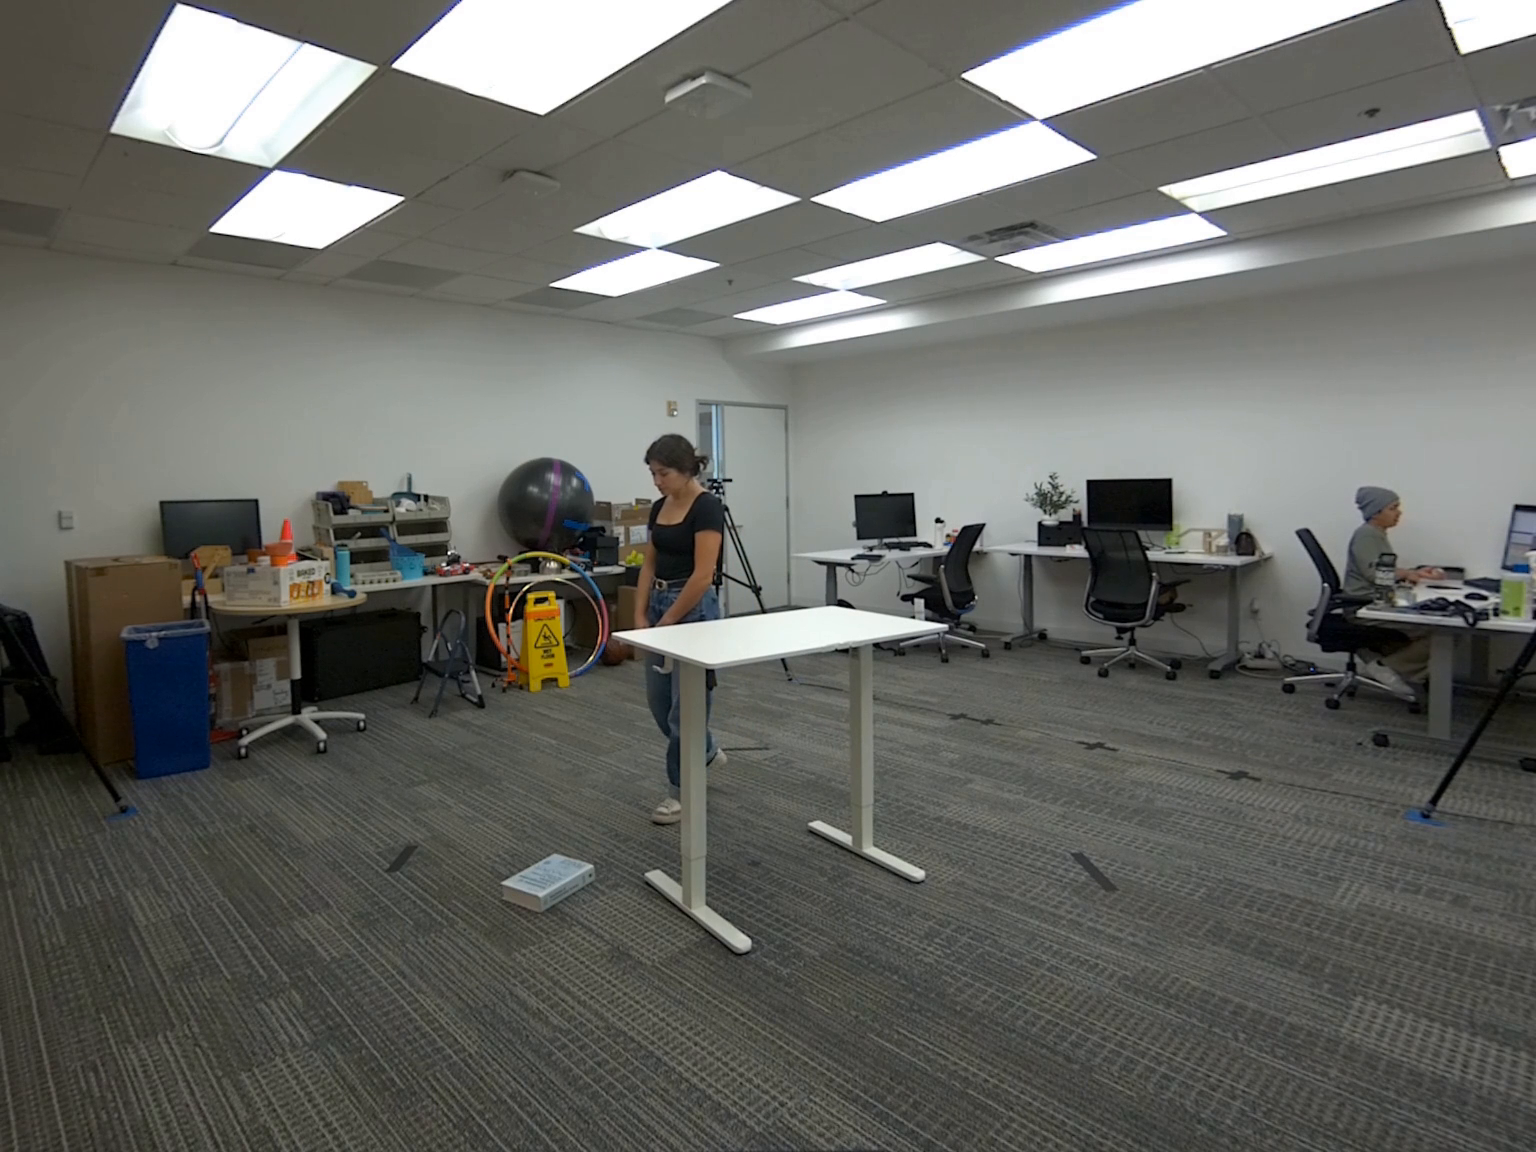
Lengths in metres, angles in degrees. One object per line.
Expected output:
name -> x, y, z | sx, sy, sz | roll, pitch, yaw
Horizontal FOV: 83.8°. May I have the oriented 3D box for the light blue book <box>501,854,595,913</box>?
light blue book -> -0.749, 1.048, 2.929 | 0.196, 0.059, 0.255 | 2, 7, 31
